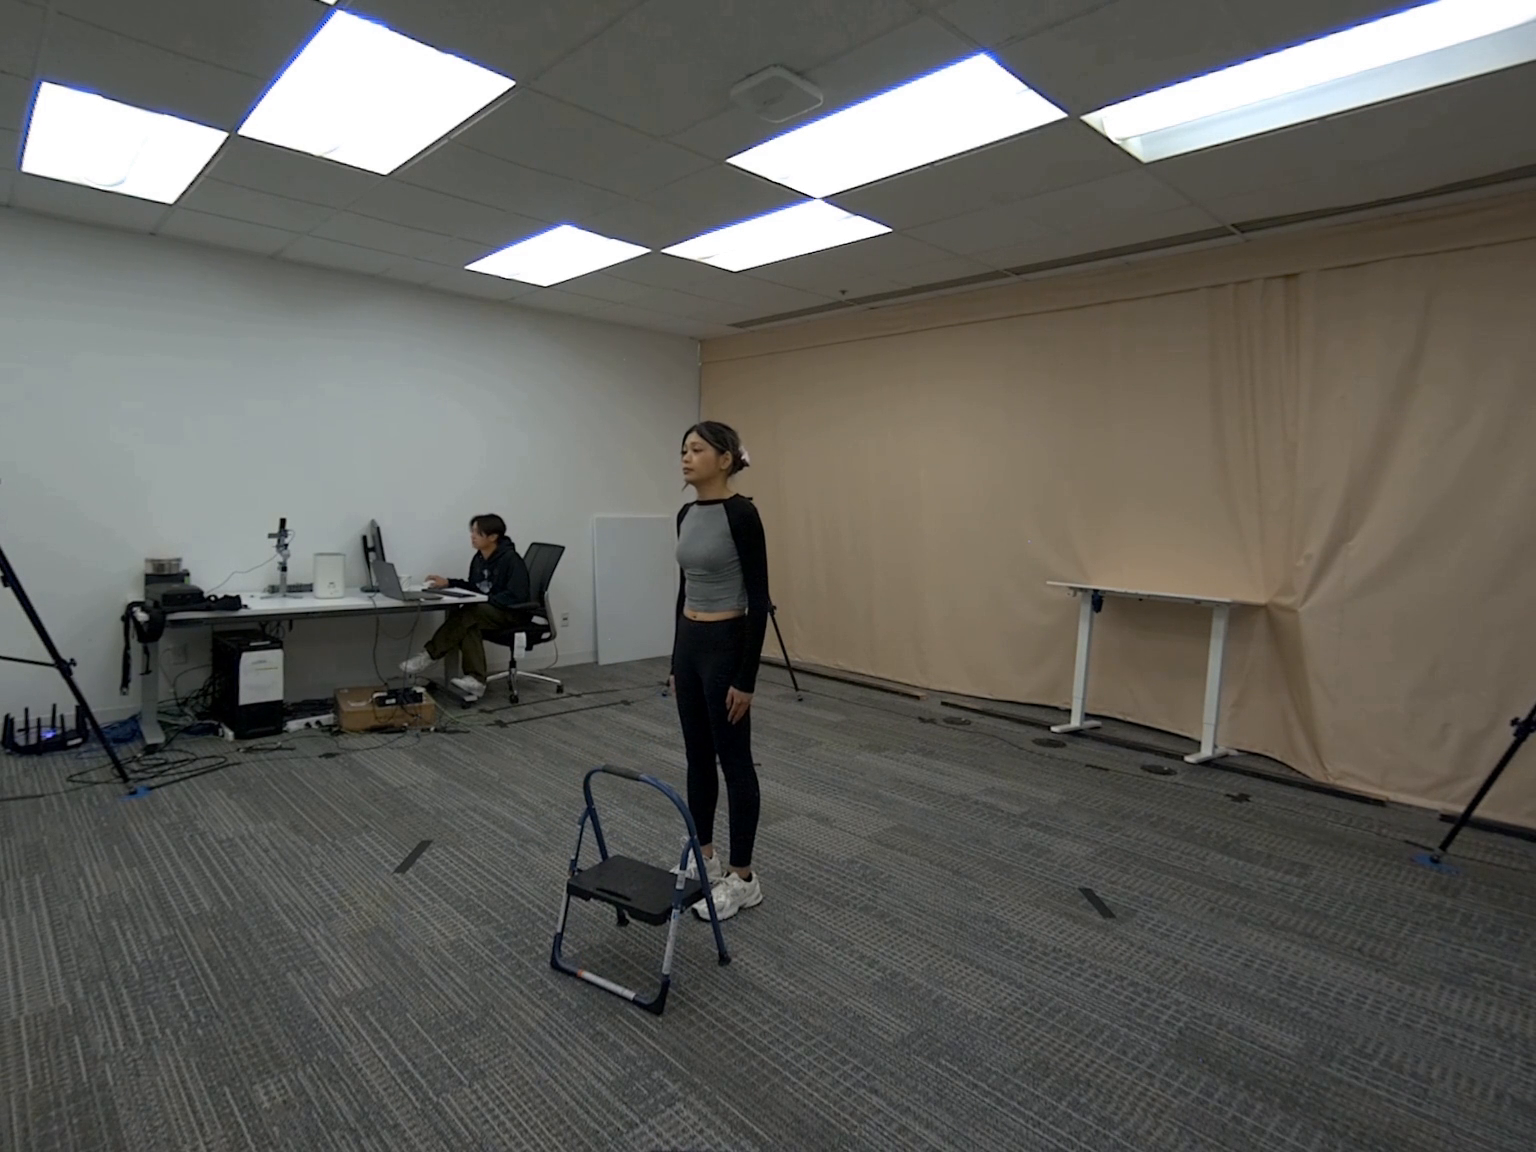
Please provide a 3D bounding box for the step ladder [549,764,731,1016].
[{"bbox_3d":[-0.382,0.857,2.488,0.440,0.605,0.342,3,4,32],"label":"step ladder"}]
